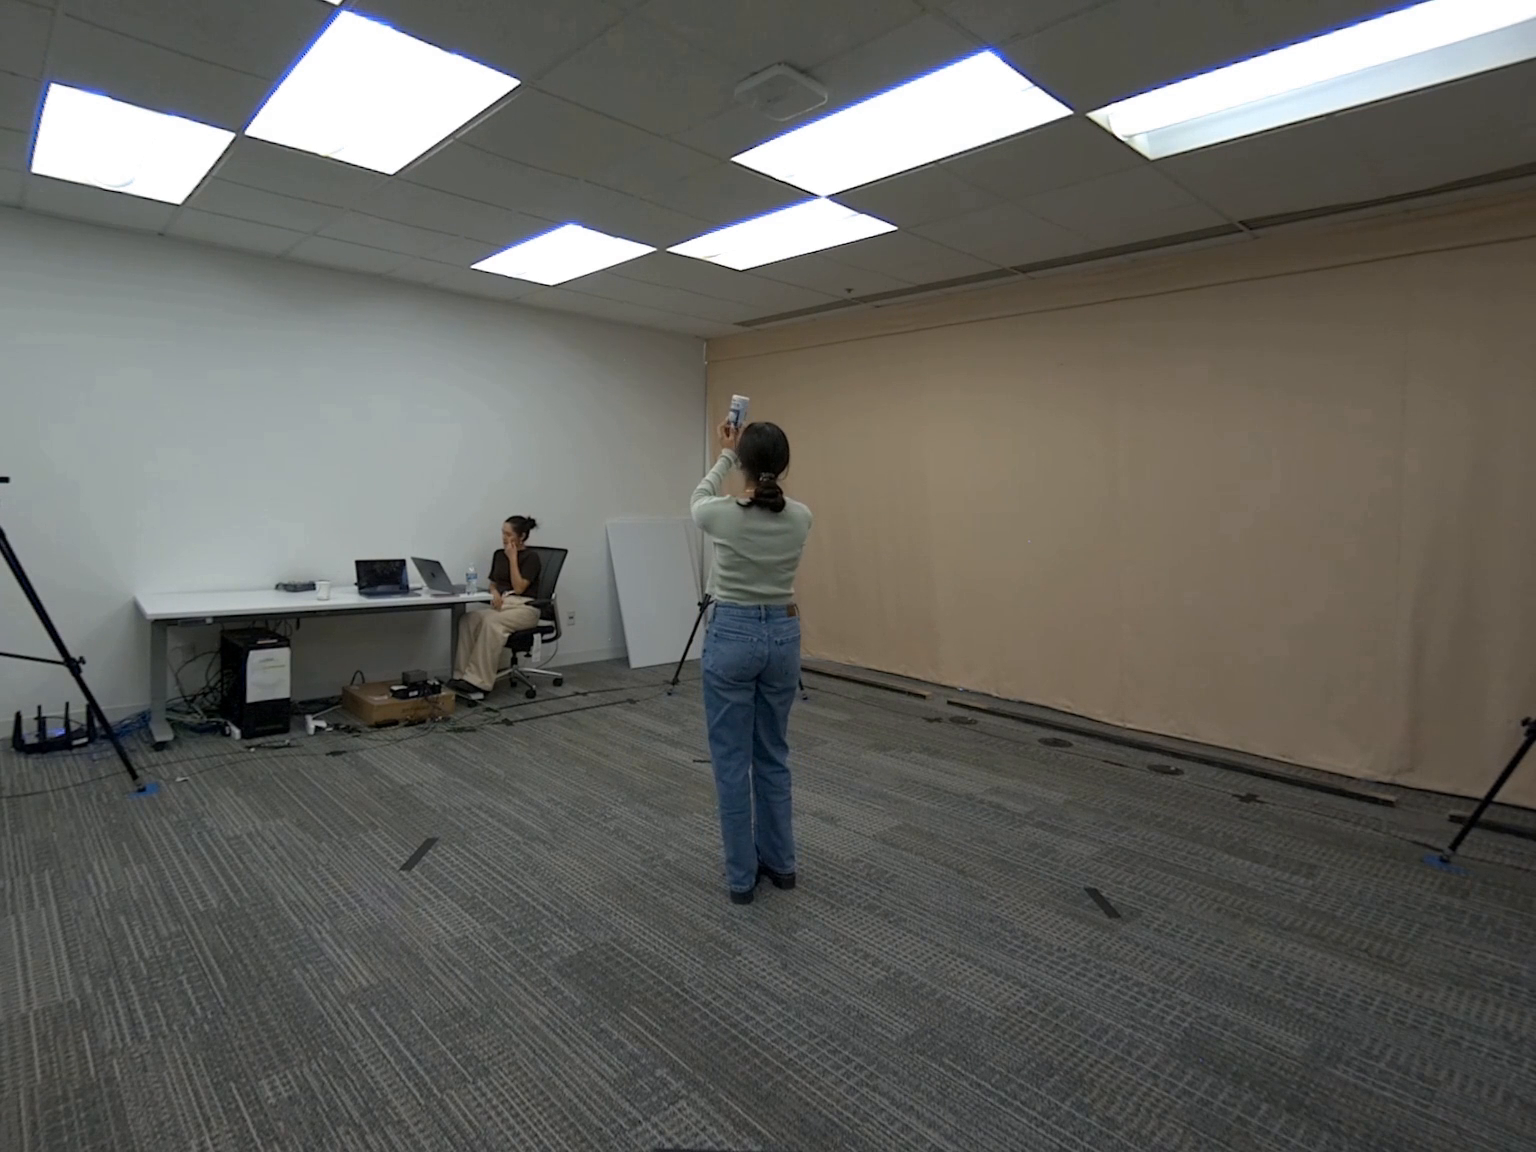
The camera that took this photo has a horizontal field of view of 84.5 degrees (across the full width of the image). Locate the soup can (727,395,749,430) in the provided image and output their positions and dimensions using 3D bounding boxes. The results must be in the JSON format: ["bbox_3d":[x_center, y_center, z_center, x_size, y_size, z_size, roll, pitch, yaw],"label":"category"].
[{"bbox_3d":[-0.119,-0.634,3.244,0.067,0.121,0.067,10,7,-3],"label":"soup can"}]
